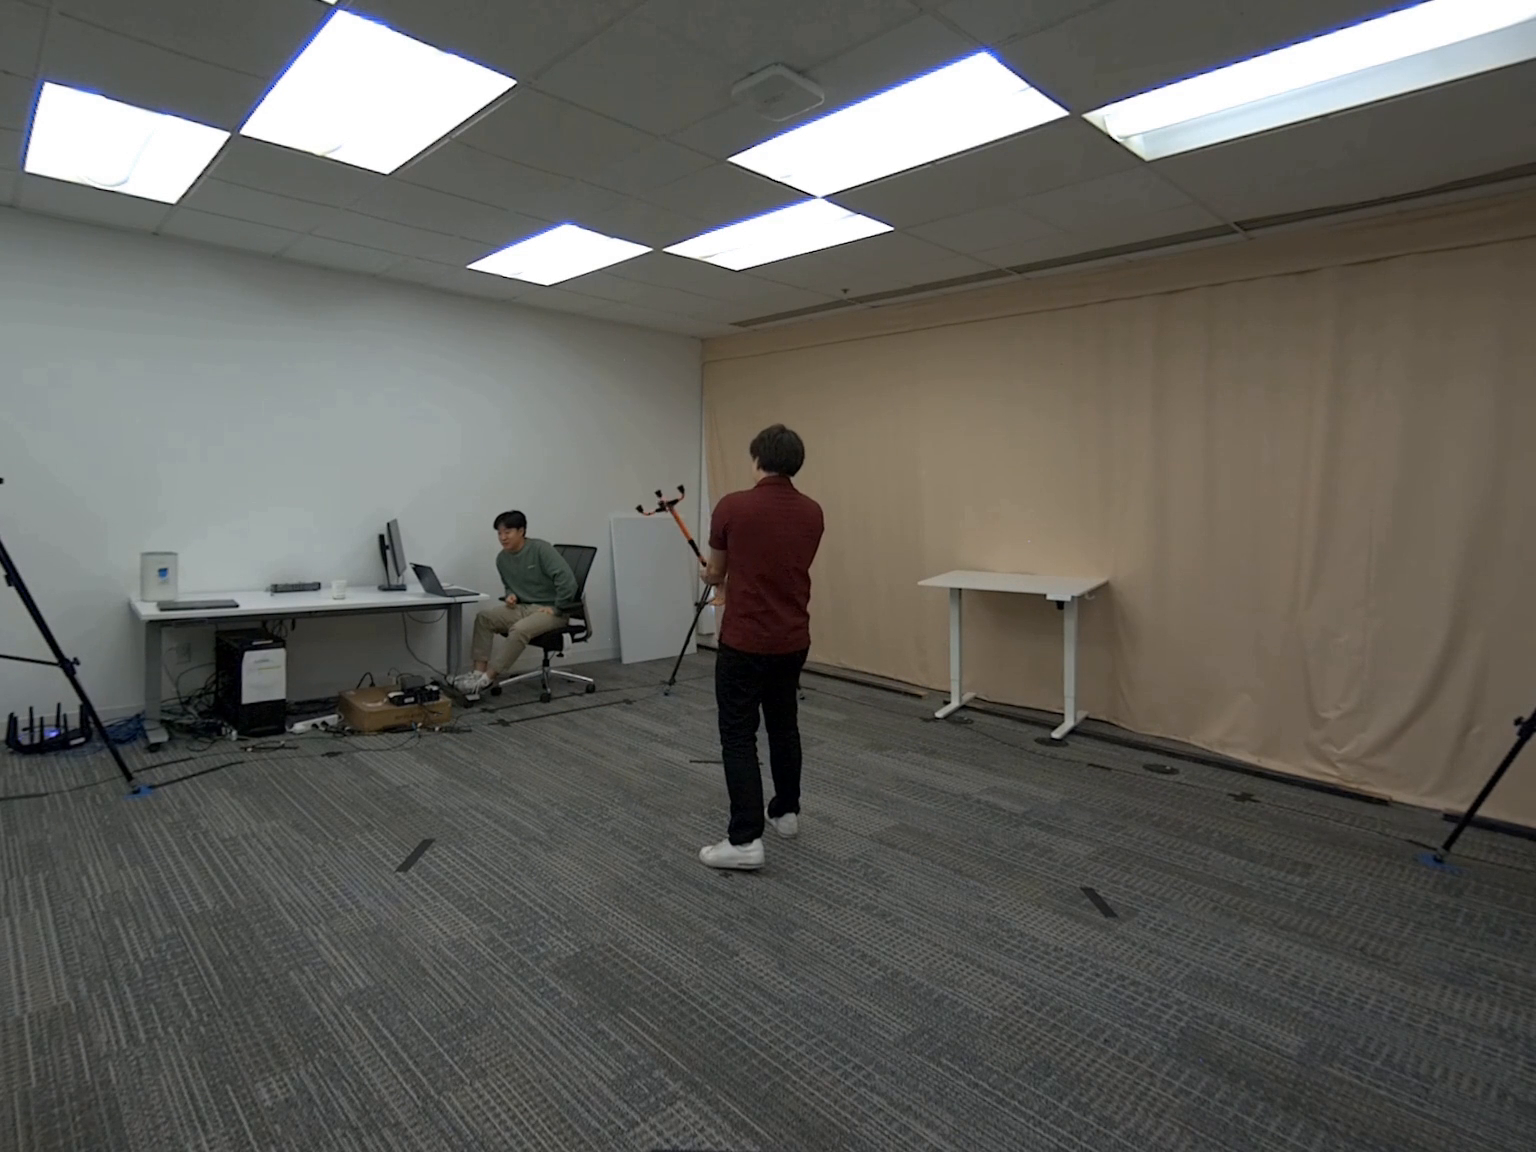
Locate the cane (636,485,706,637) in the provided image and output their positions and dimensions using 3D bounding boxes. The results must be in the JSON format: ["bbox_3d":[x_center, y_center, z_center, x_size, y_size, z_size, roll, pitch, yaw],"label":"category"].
[{"bbox_3d":[-0.251,0.023,3.714,0.151,0.892,0.211,-42,21,-31],"label":"cane"}]
